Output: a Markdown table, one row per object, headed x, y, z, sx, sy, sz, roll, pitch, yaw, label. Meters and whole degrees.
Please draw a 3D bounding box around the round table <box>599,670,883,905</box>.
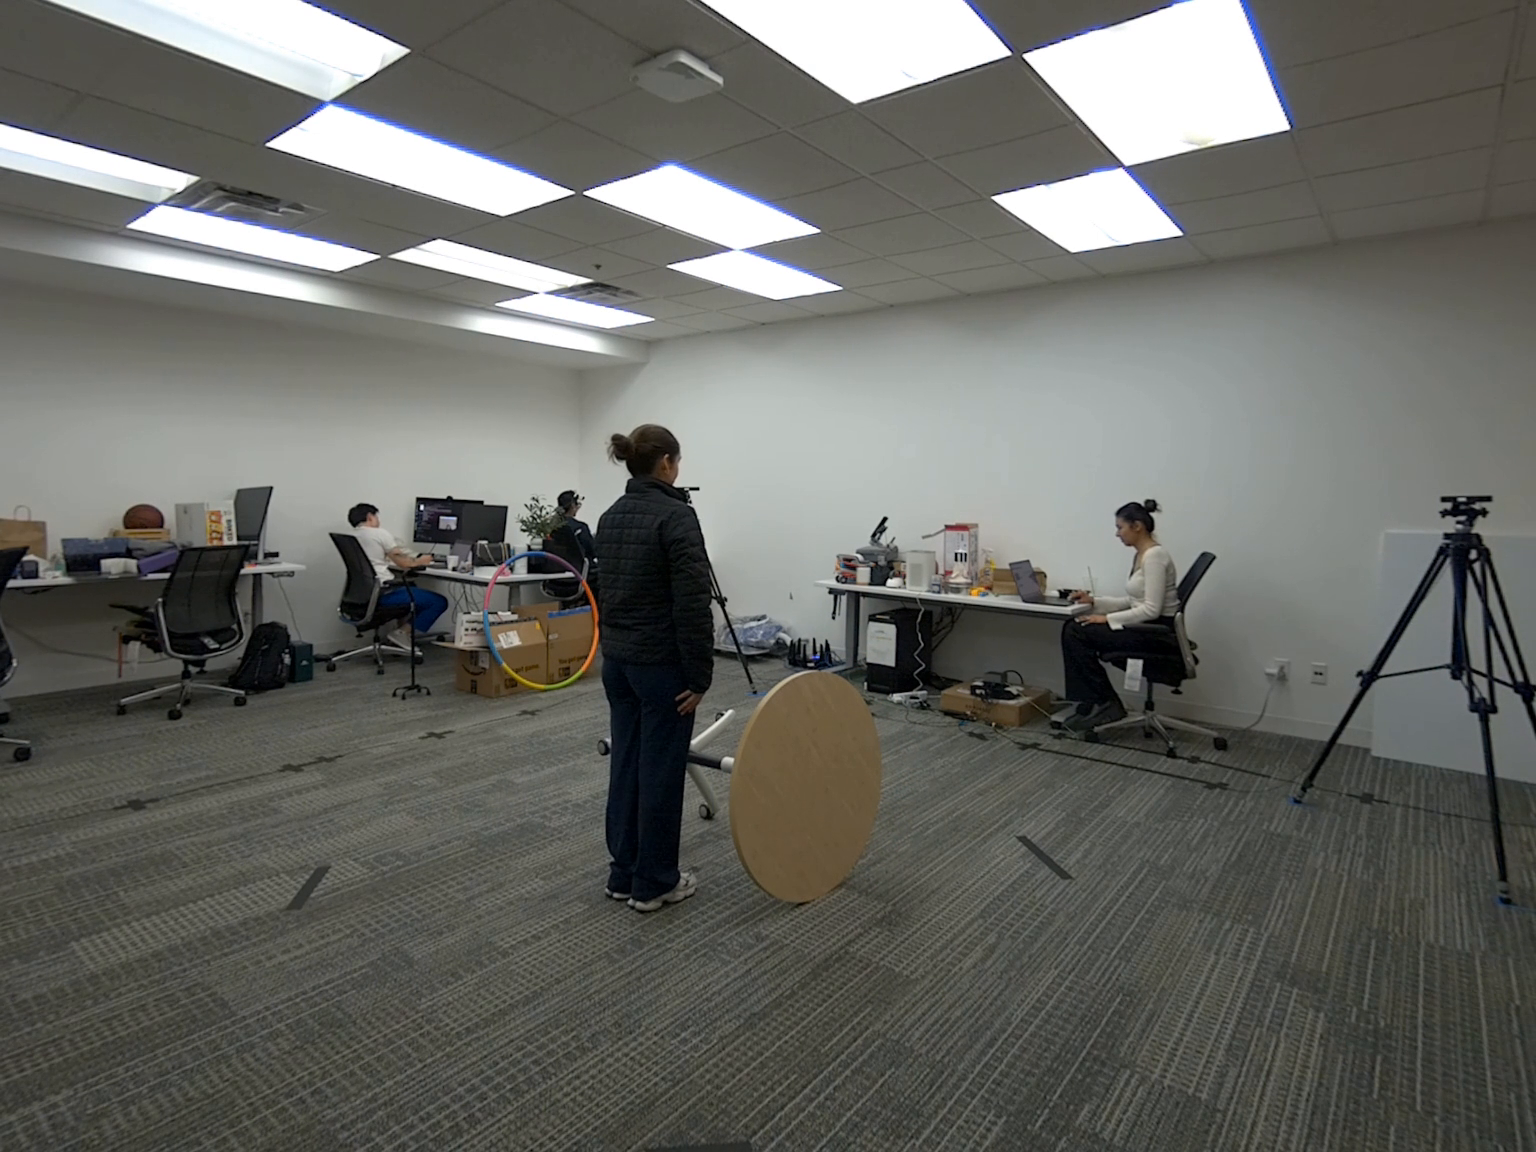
| x | y | z | sx | sy | sz | roll | pitch | yaw | label |
| --- | --- | --- | --- | --- | --- | --- | --- | --- | --- |
| -0.120 | 0.718 | 3.200 | 0.761 | 0.786 | 0.810 | -3 | 0 | -45 | round table |
